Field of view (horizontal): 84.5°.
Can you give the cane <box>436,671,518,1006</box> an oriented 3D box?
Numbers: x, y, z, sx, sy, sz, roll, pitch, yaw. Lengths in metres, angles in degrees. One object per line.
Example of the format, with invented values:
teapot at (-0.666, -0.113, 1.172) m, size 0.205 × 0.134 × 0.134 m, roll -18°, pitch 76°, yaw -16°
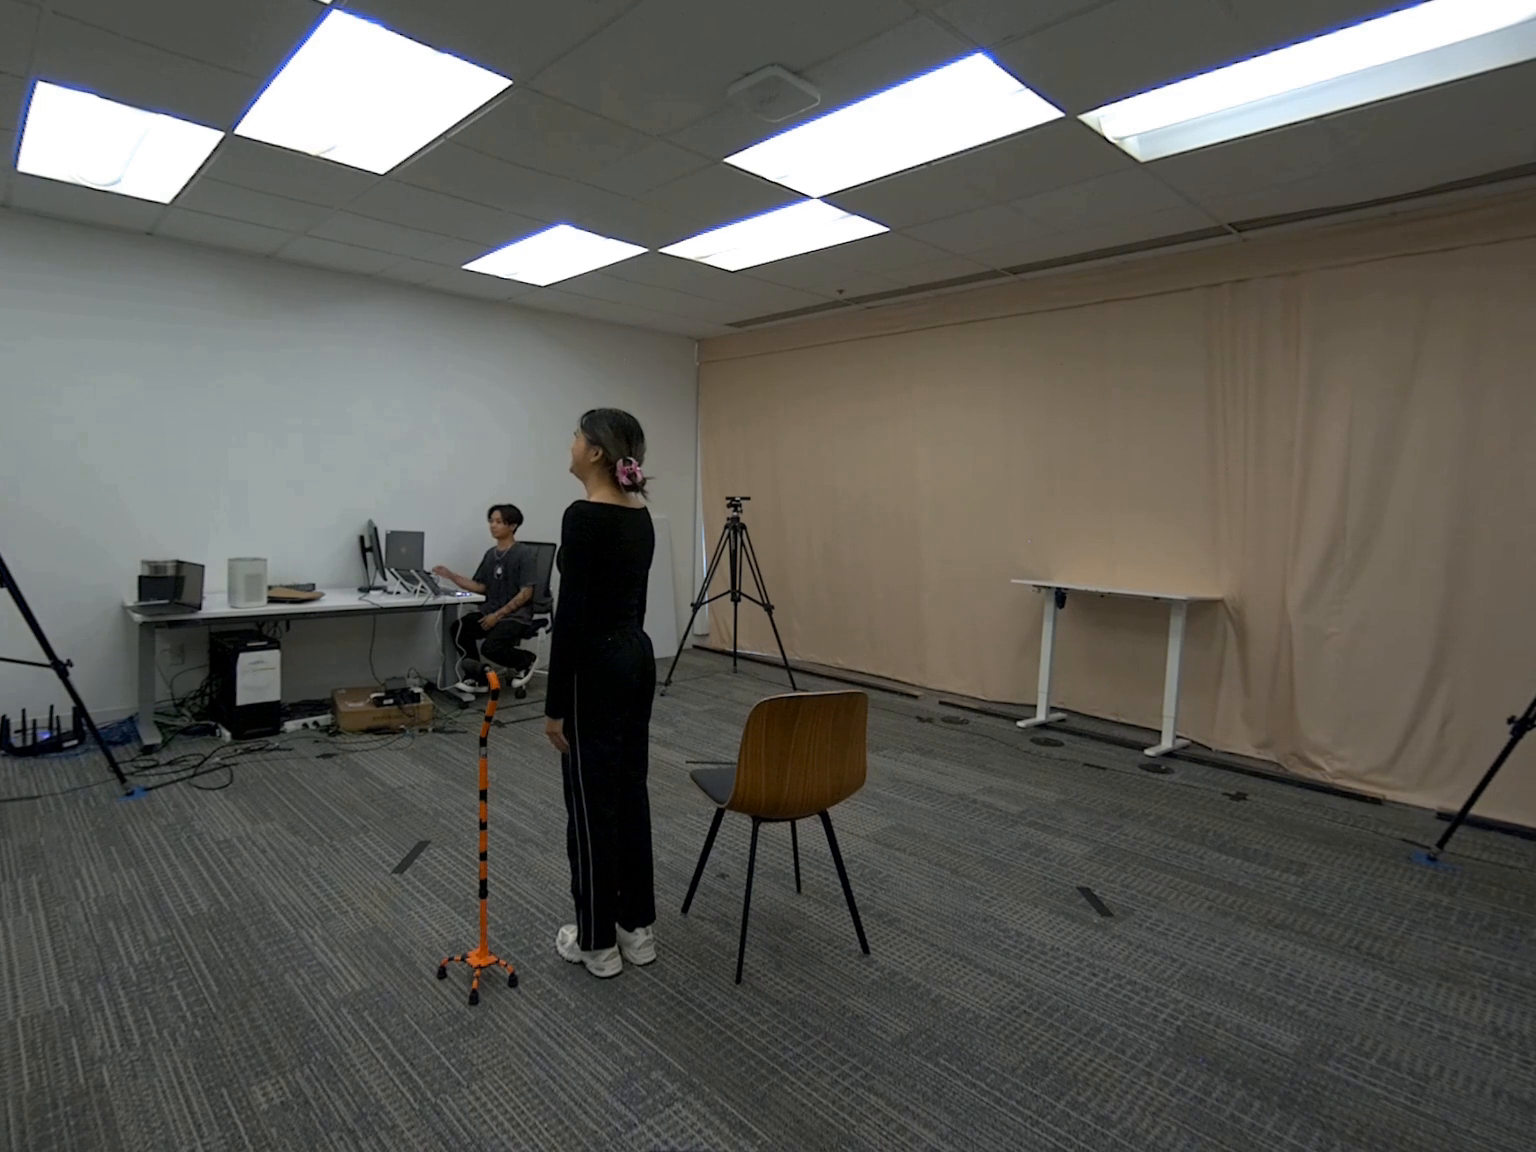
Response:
cane at (-0.820, 0.703, 2.383) m, size 0.211 × 0.906 × 0.148 m, roll 4°, pitch 3°, yaw 41°
